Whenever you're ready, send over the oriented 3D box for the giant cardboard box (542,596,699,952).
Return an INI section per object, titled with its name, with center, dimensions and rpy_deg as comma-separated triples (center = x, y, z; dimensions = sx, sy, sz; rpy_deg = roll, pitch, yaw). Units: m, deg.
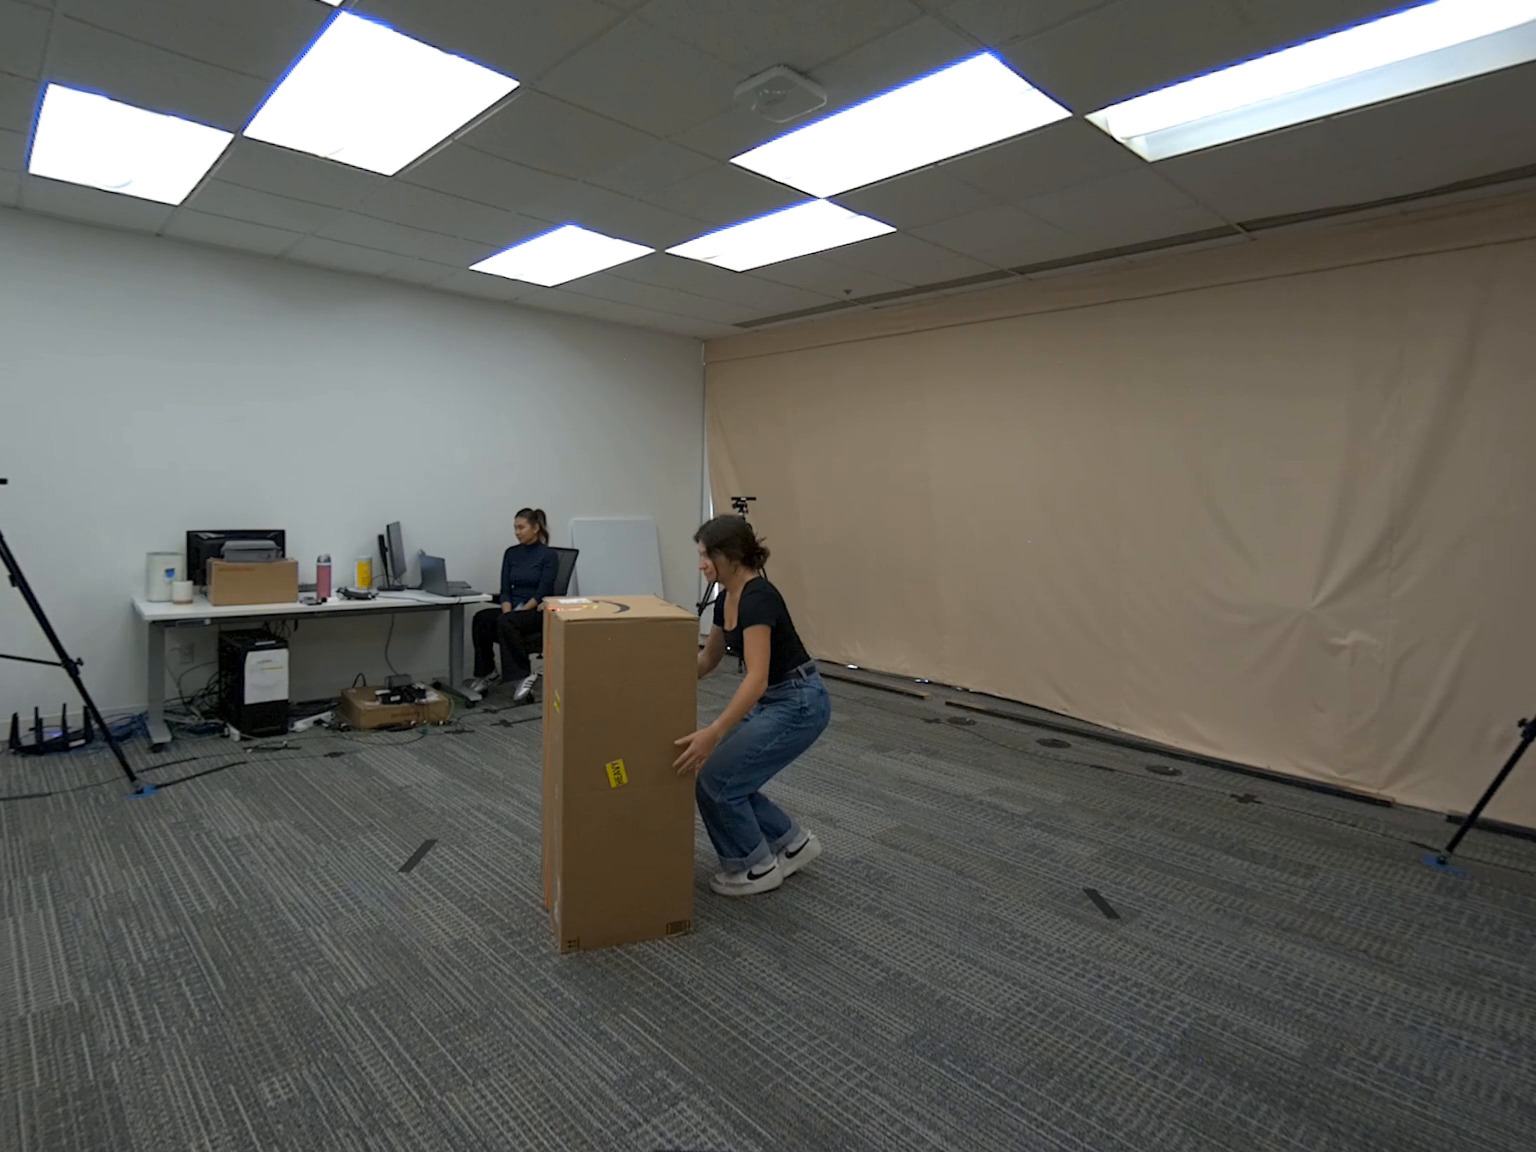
[giant cardboard box]
center = -0.534, 0.611, 2.850
dimensions = 0.420, 1.023, 0.588
rpy_deg = 0, 4, -21
